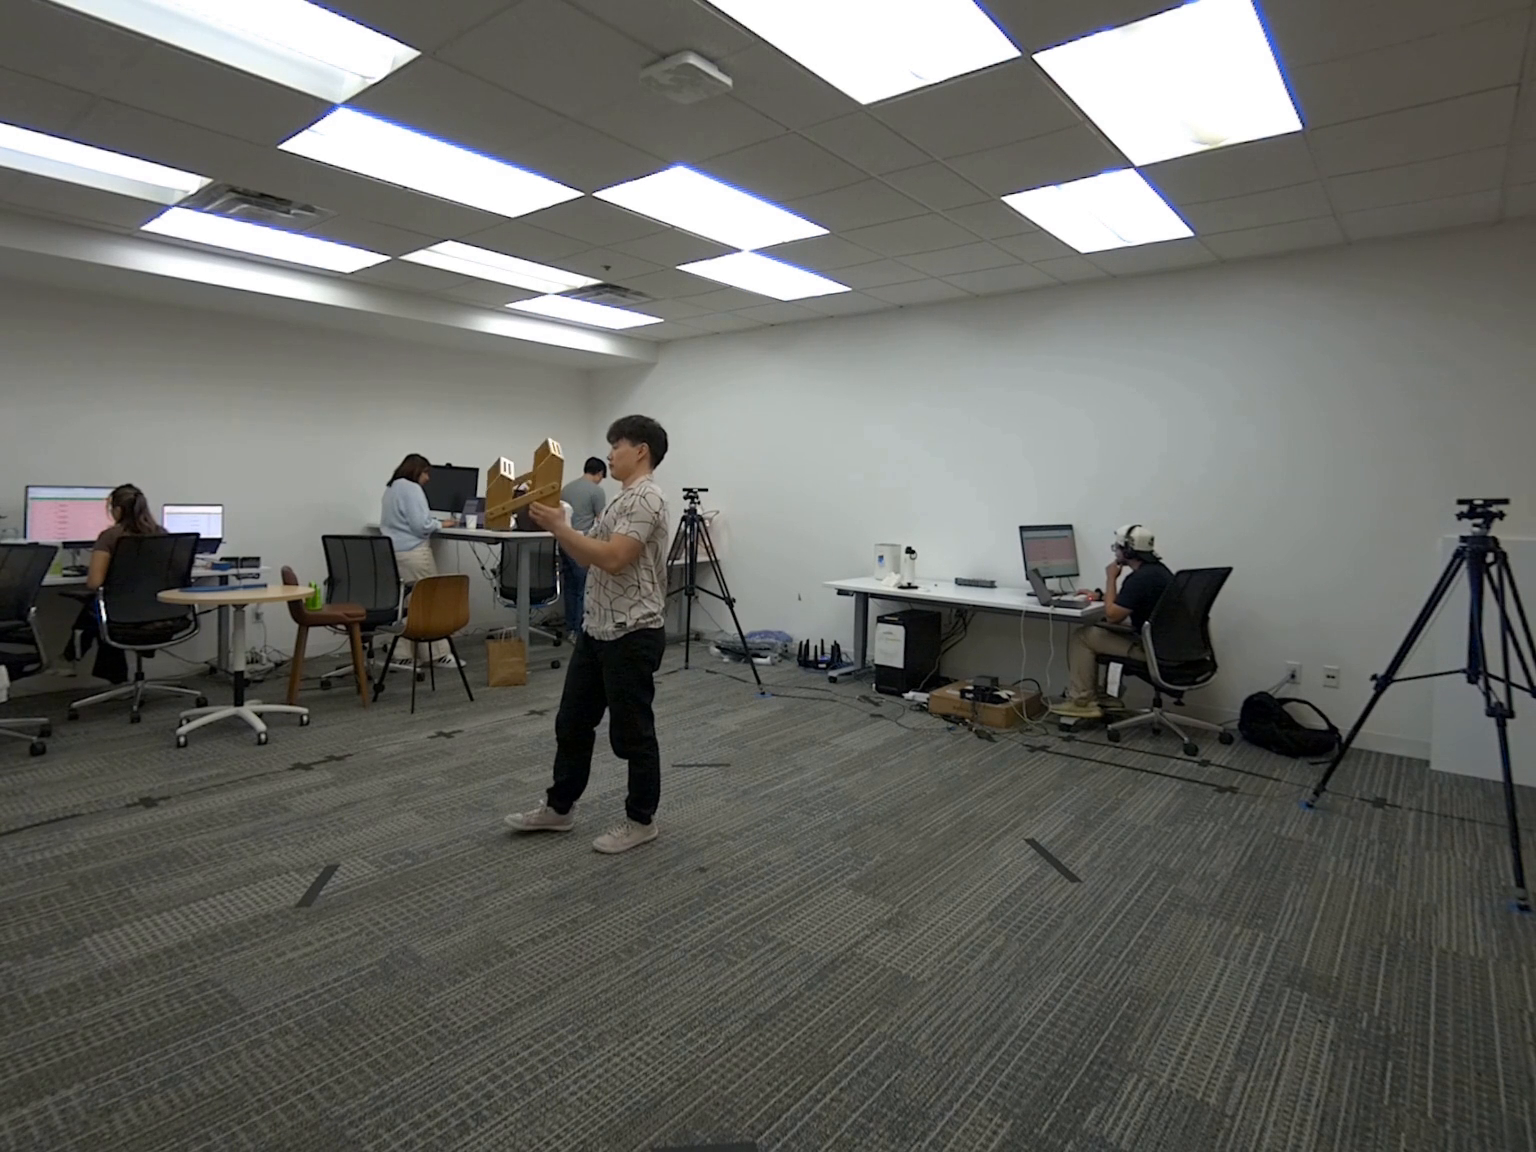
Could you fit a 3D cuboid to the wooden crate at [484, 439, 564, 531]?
[{"bbox_3d":[-0.936,-0.355,3.181,0.269,0.298,0.334,4,18,-14],"label":"wooden crate"}]
